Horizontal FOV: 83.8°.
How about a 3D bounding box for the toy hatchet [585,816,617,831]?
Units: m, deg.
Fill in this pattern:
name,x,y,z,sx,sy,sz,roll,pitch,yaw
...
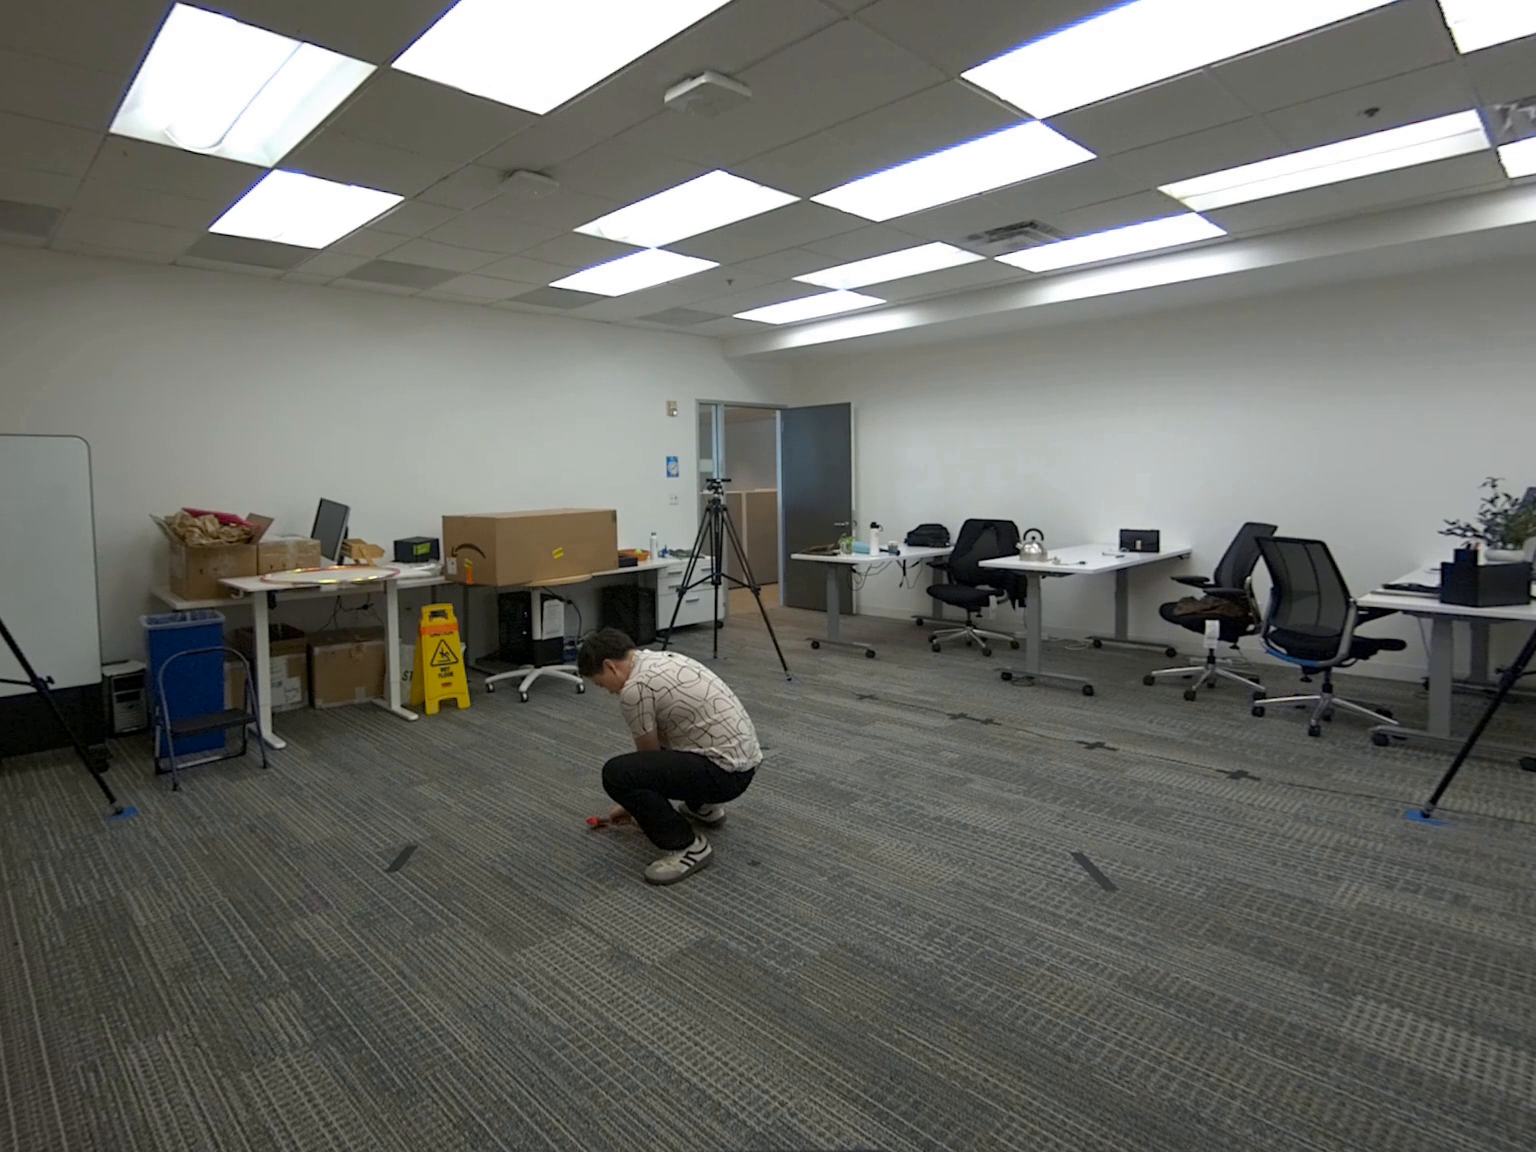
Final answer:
name,x,y,z,sx,sy,sz,roll,pitch,yaw
toy hatchet,-0.597,0.990,3.451,0.269,0.030,0.129,4,-17,-2
